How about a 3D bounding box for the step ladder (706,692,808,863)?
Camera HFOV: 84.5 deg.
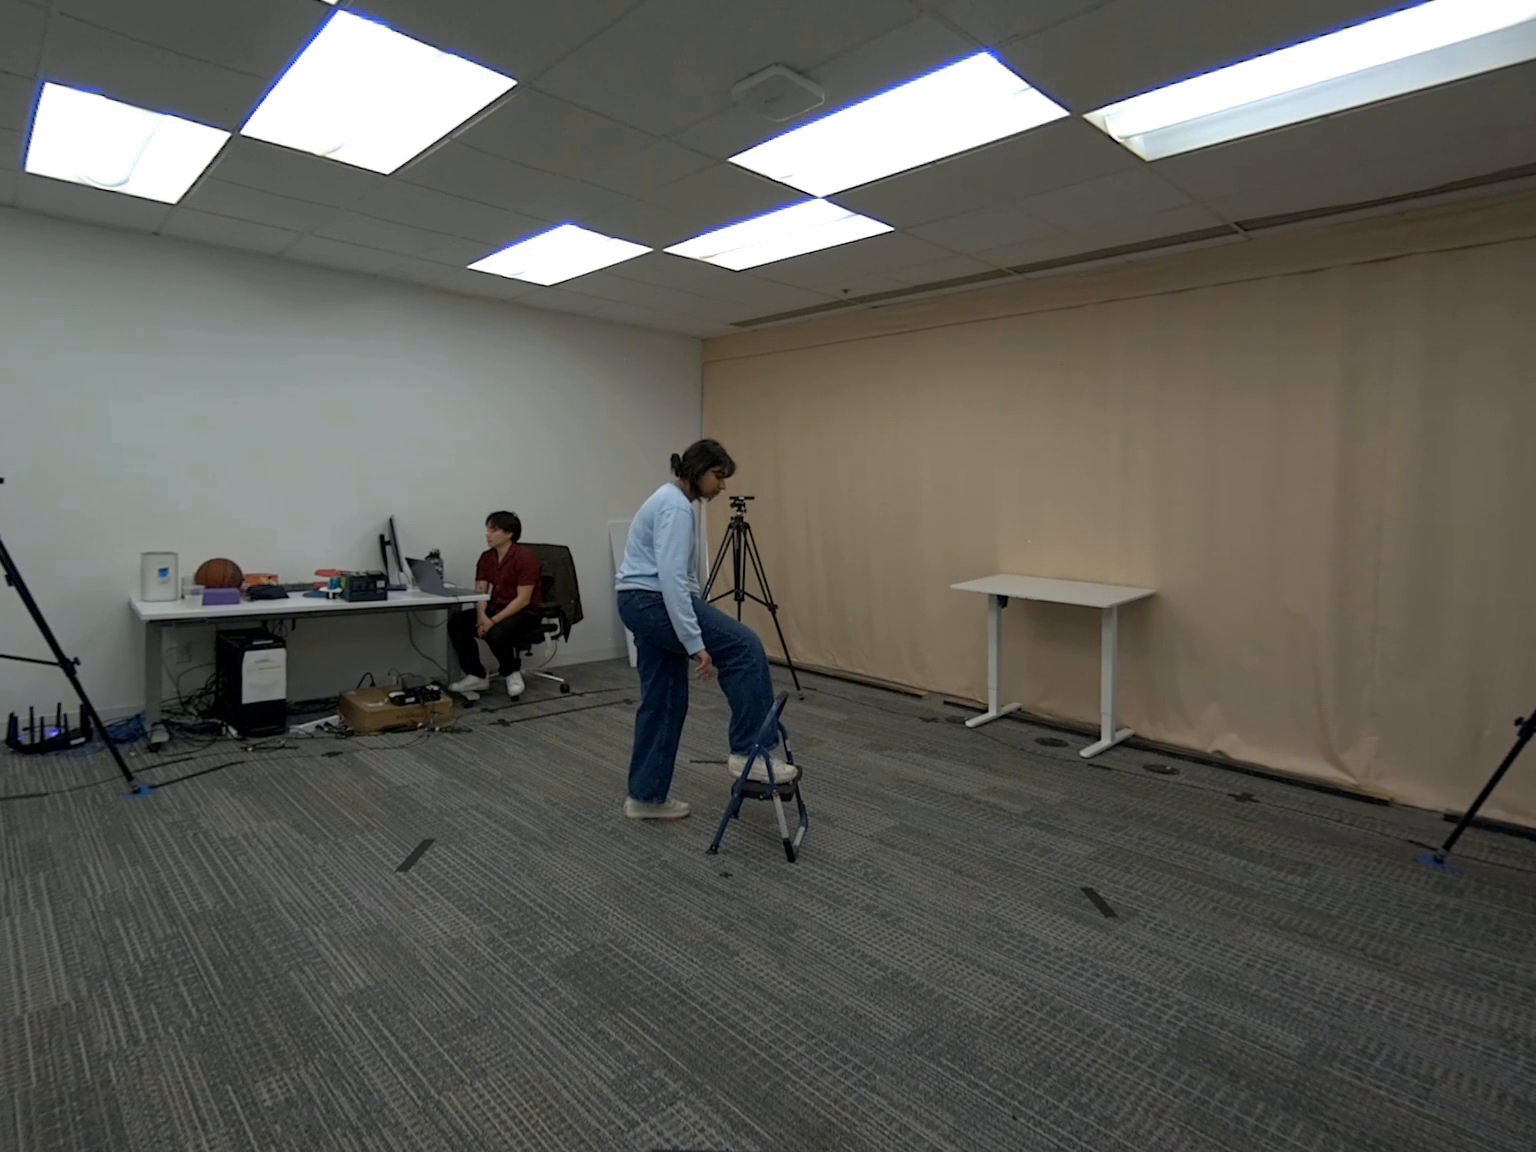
[{"bbox_3d":[-0.031,0.779,3.437,0.353,0.604,0.427,2,4,11],"label":"step ladder"}]
